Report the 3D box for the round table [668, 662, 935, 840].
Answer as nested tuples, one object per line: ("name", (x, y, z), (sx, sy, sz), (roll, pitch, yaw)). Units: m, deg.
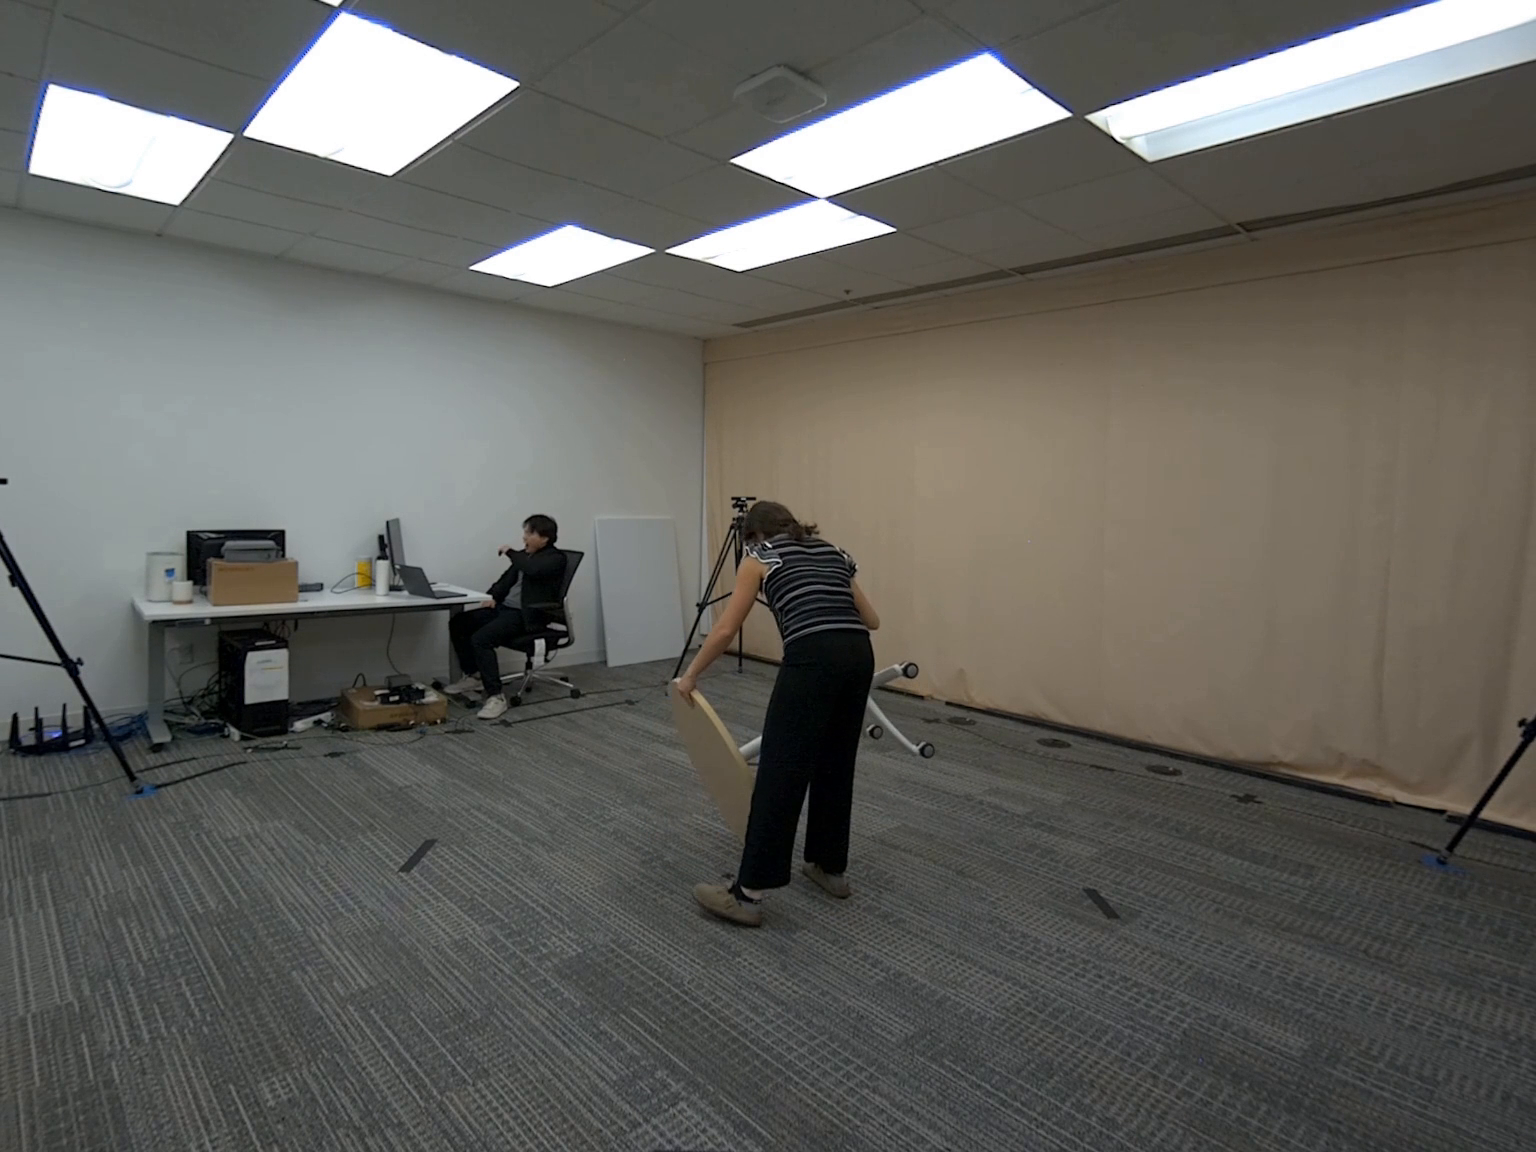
("round table", (0.125, 0.582, 3.370), (0.788, 0.754, 0.780), (-27, 15, -21))
